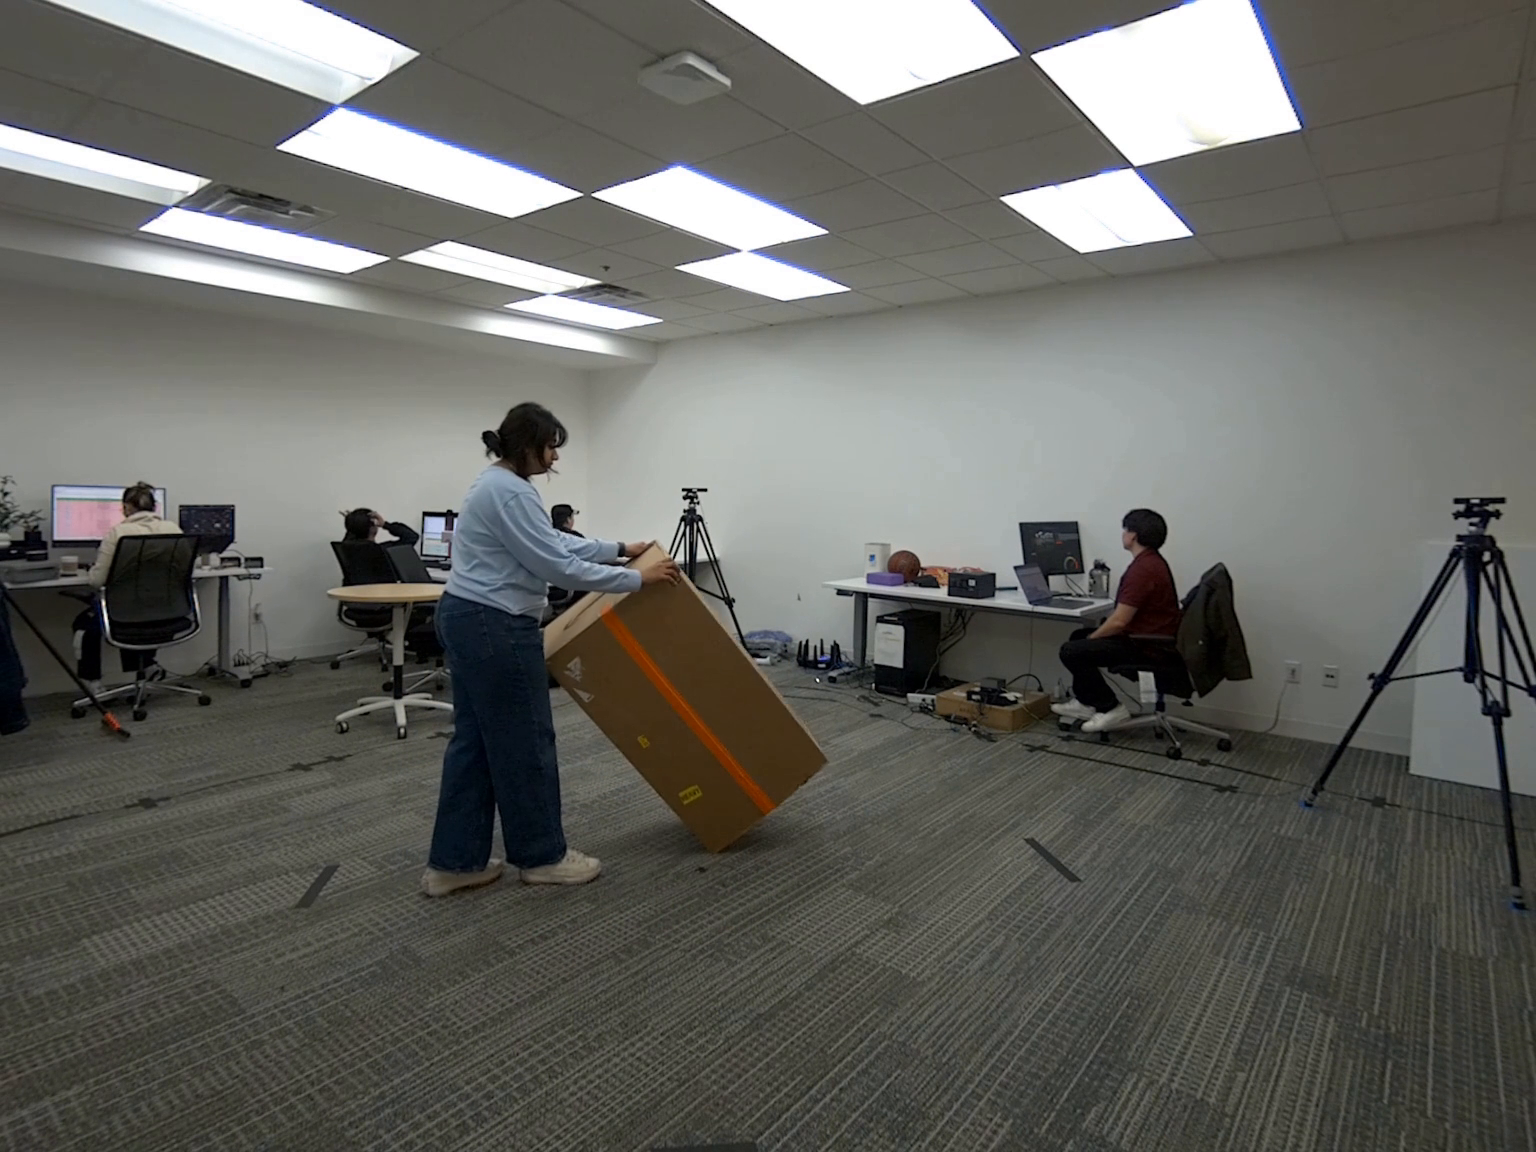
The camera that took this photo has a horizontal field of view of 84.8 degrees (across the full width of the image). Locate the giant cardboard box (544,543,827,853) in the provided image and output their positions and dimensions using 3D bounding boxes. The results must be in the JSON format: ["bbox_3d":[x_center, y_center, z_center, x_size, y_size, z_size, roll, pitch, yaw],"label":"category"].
[{"bbox_3d":[-0.336,0.462,3.321,0.583,1.006,0.456,-39,15,-3],"label":"giant cardboard box"}]
